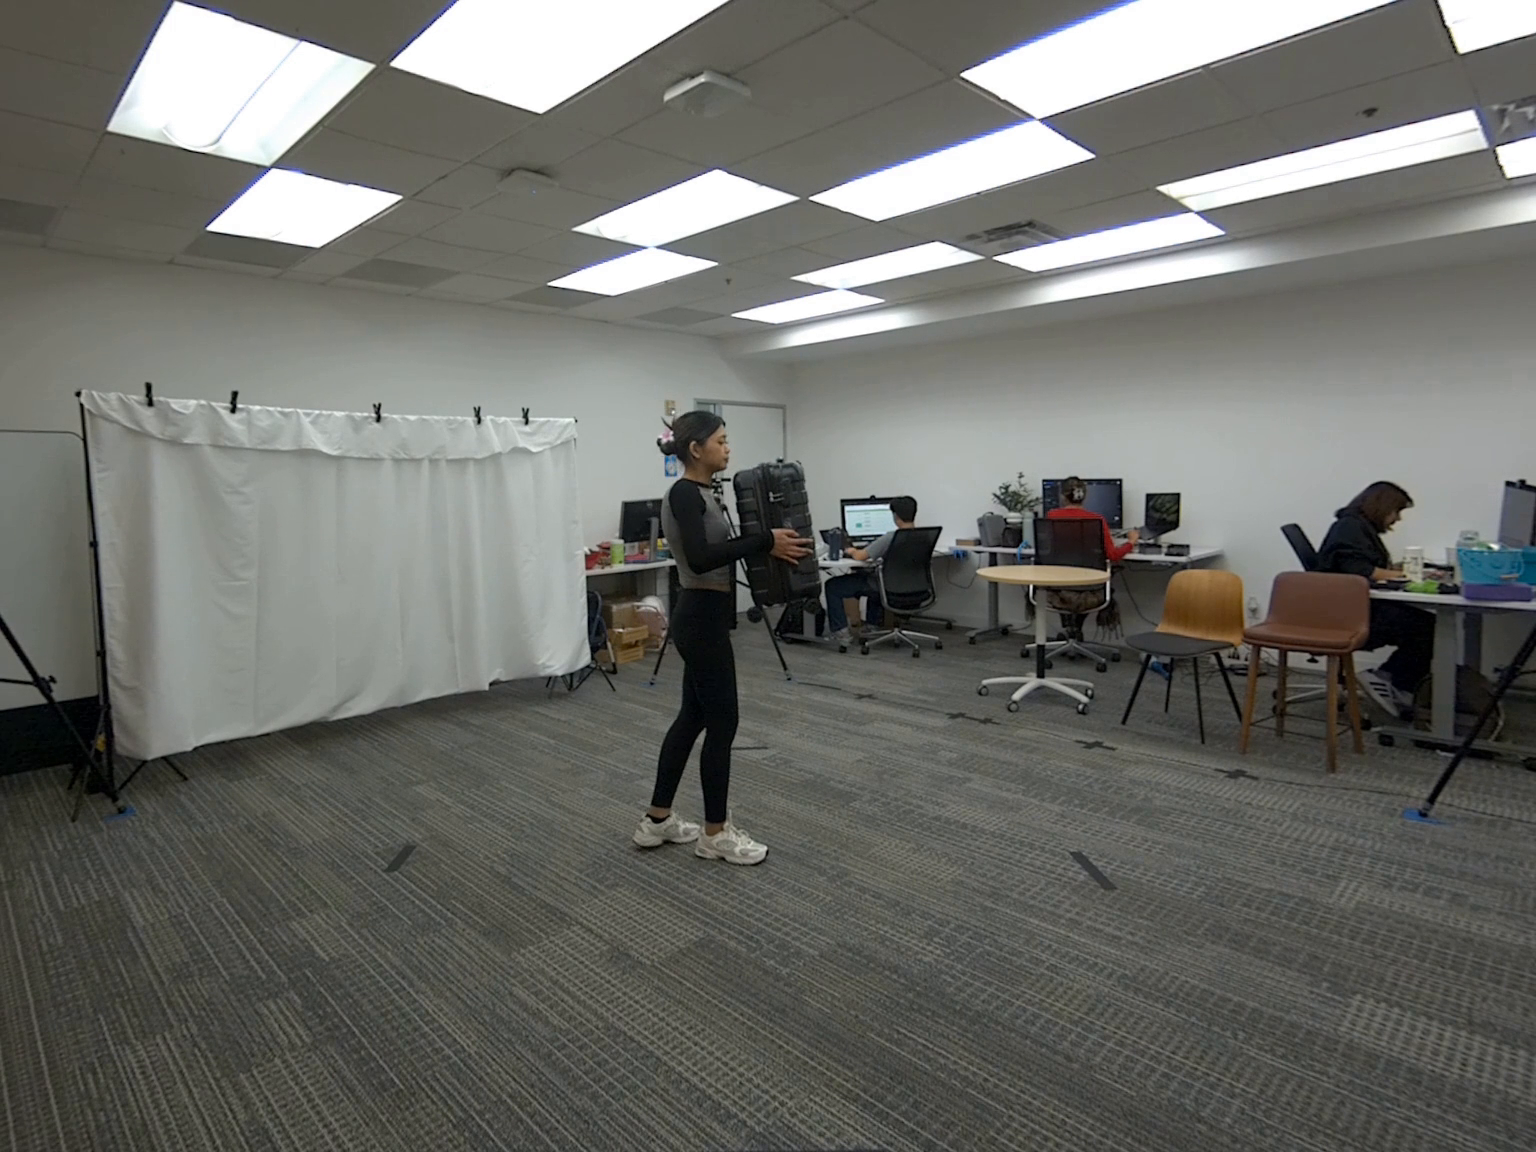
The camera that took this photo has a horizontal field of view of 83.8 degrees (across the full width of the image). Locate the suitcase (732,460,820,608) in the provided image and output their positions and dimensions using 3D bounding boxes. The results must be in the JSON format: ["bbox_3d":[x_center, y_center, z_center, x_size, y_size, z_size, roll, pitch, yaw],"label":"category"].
[{"bbox_3d":[0.038,-0.153,3.116,0.249,0.547,0.375,-9,5,5],"label":"suitcase"}]
